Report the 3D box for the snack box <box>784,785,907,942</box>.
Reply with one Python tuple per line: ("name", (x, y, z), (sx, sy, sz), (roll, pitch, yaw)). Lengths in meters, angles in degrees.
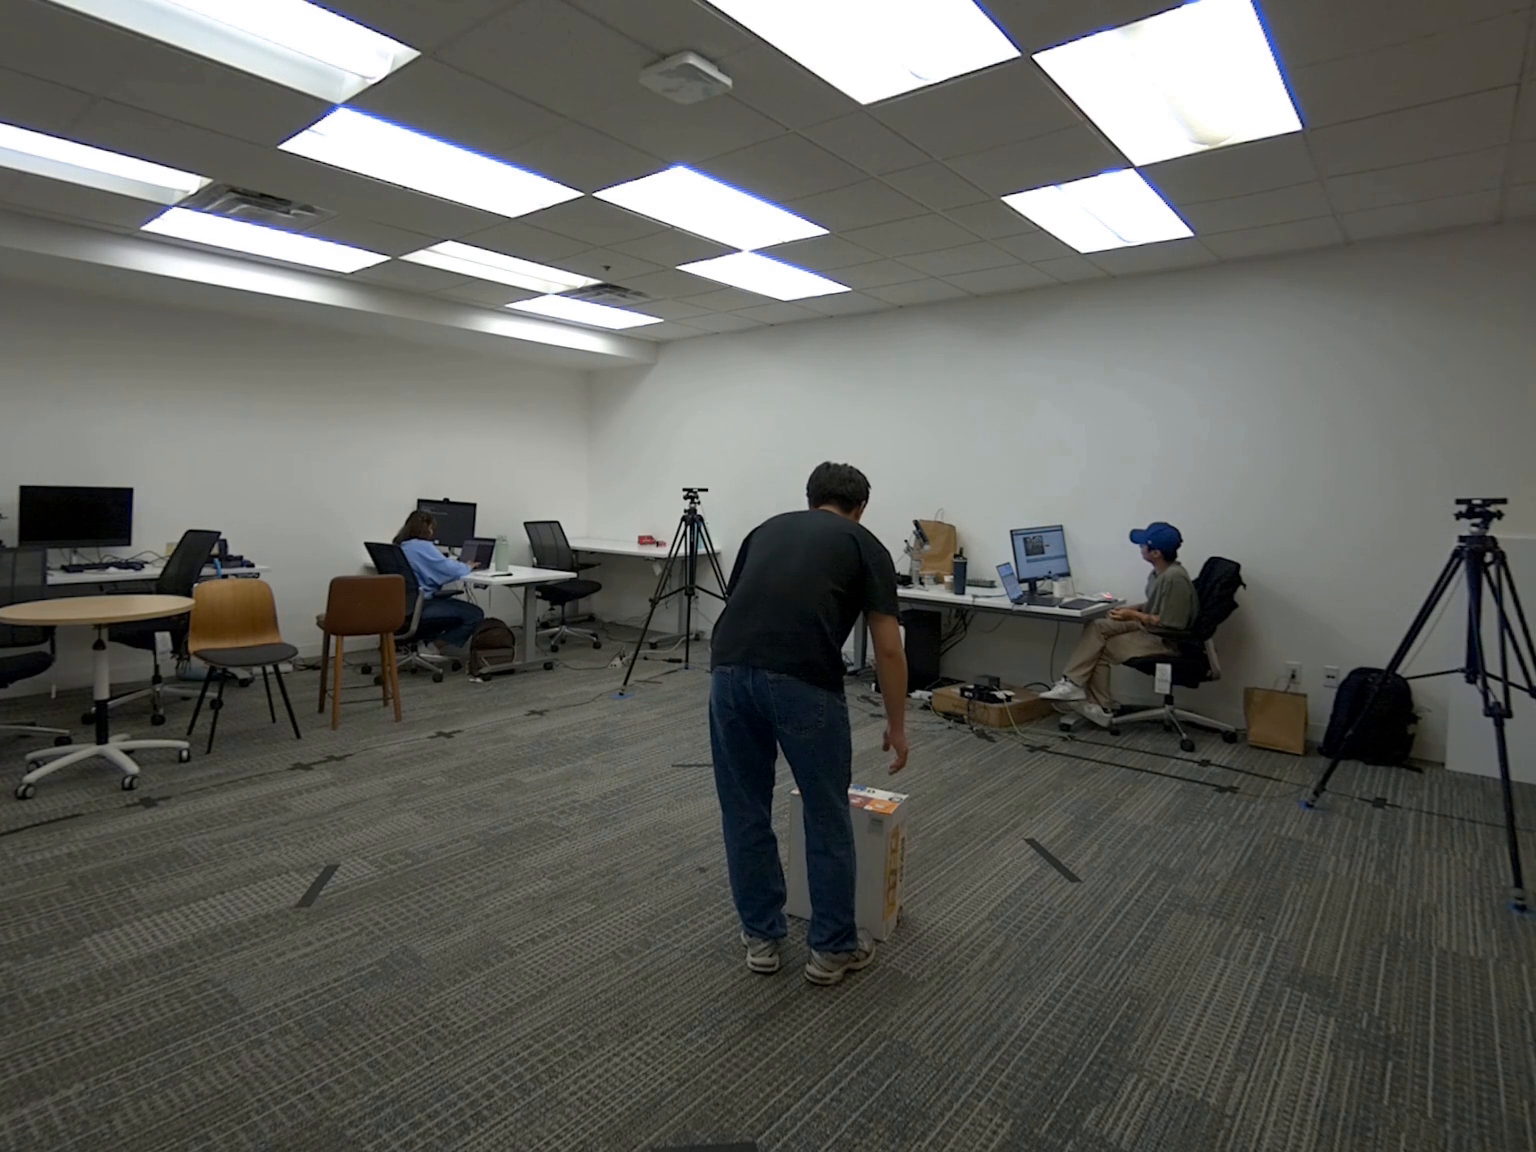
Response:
("snack box", (0.248, 0.906, 2.782), (0.350, 0.404, 0.200), (4, 3, 26))
